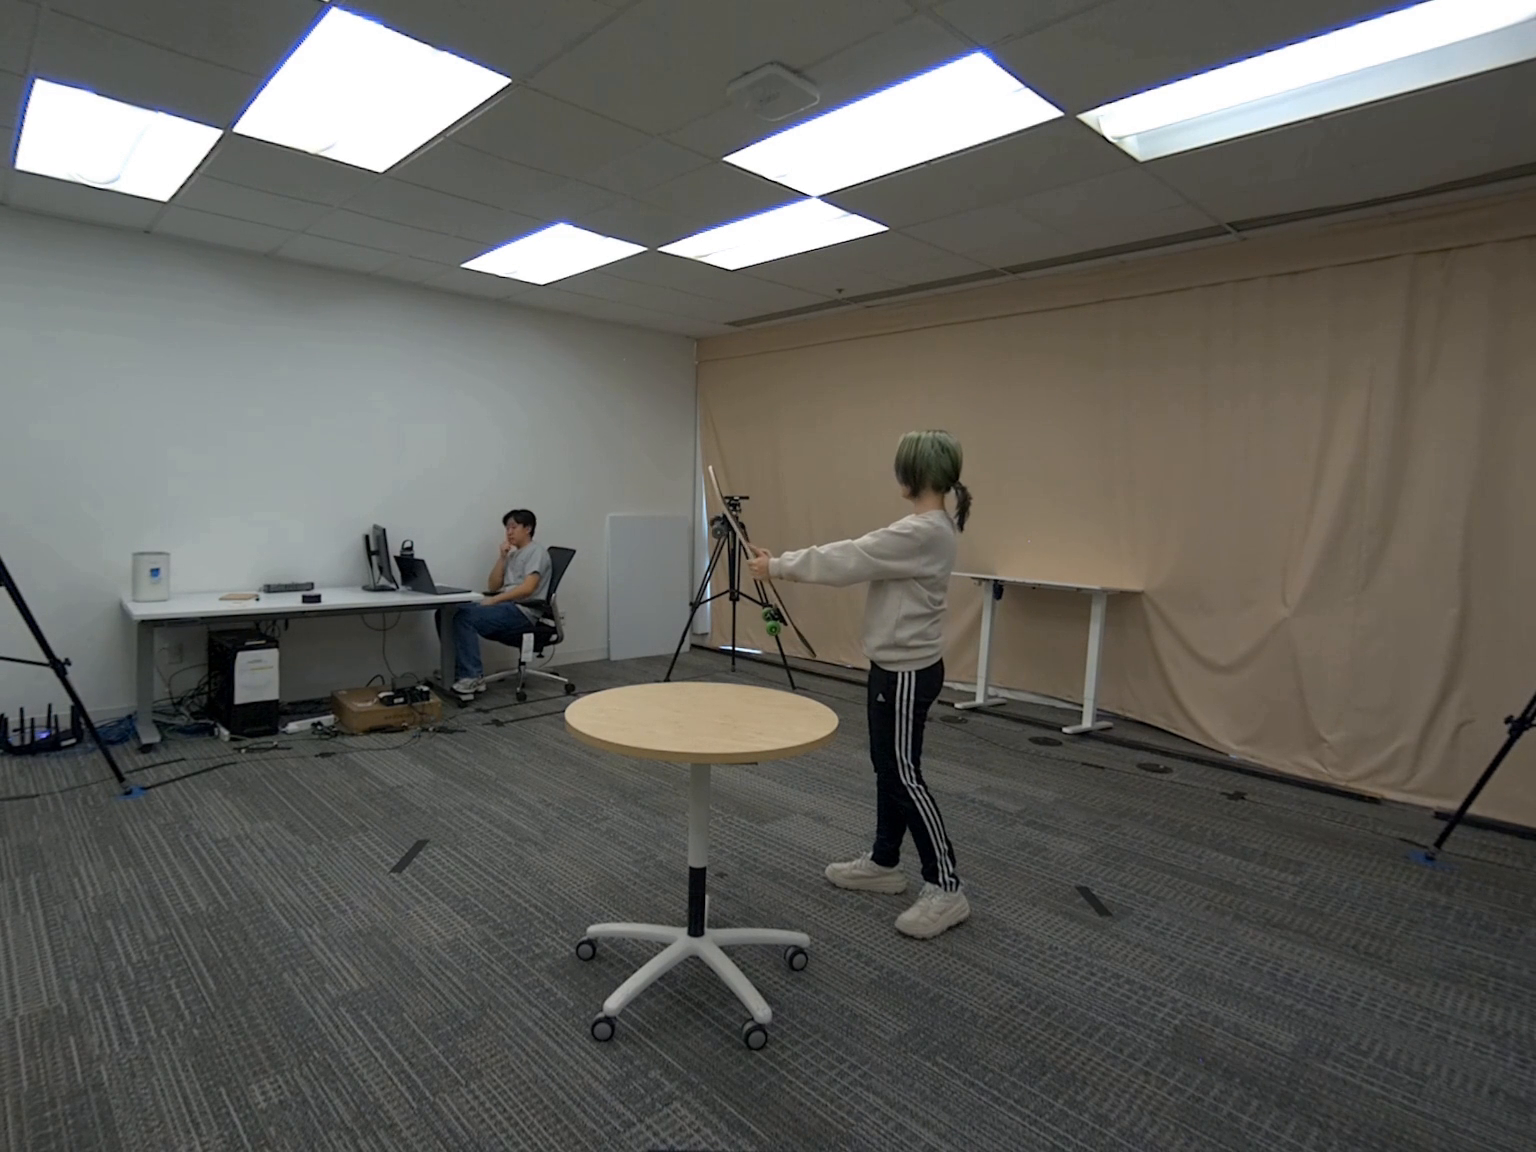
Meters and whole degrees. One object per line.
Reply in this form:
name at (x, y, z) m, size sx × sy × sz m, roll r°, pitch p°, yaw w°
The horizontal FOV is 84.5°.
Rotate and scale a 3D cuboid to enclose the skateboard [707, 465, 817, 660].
skateboard at (-0.060, -0.020, 2.955) m, size 0.110 × 0.775 × 0.196 m, roll -28°, pitch 14°, yaw 3°
